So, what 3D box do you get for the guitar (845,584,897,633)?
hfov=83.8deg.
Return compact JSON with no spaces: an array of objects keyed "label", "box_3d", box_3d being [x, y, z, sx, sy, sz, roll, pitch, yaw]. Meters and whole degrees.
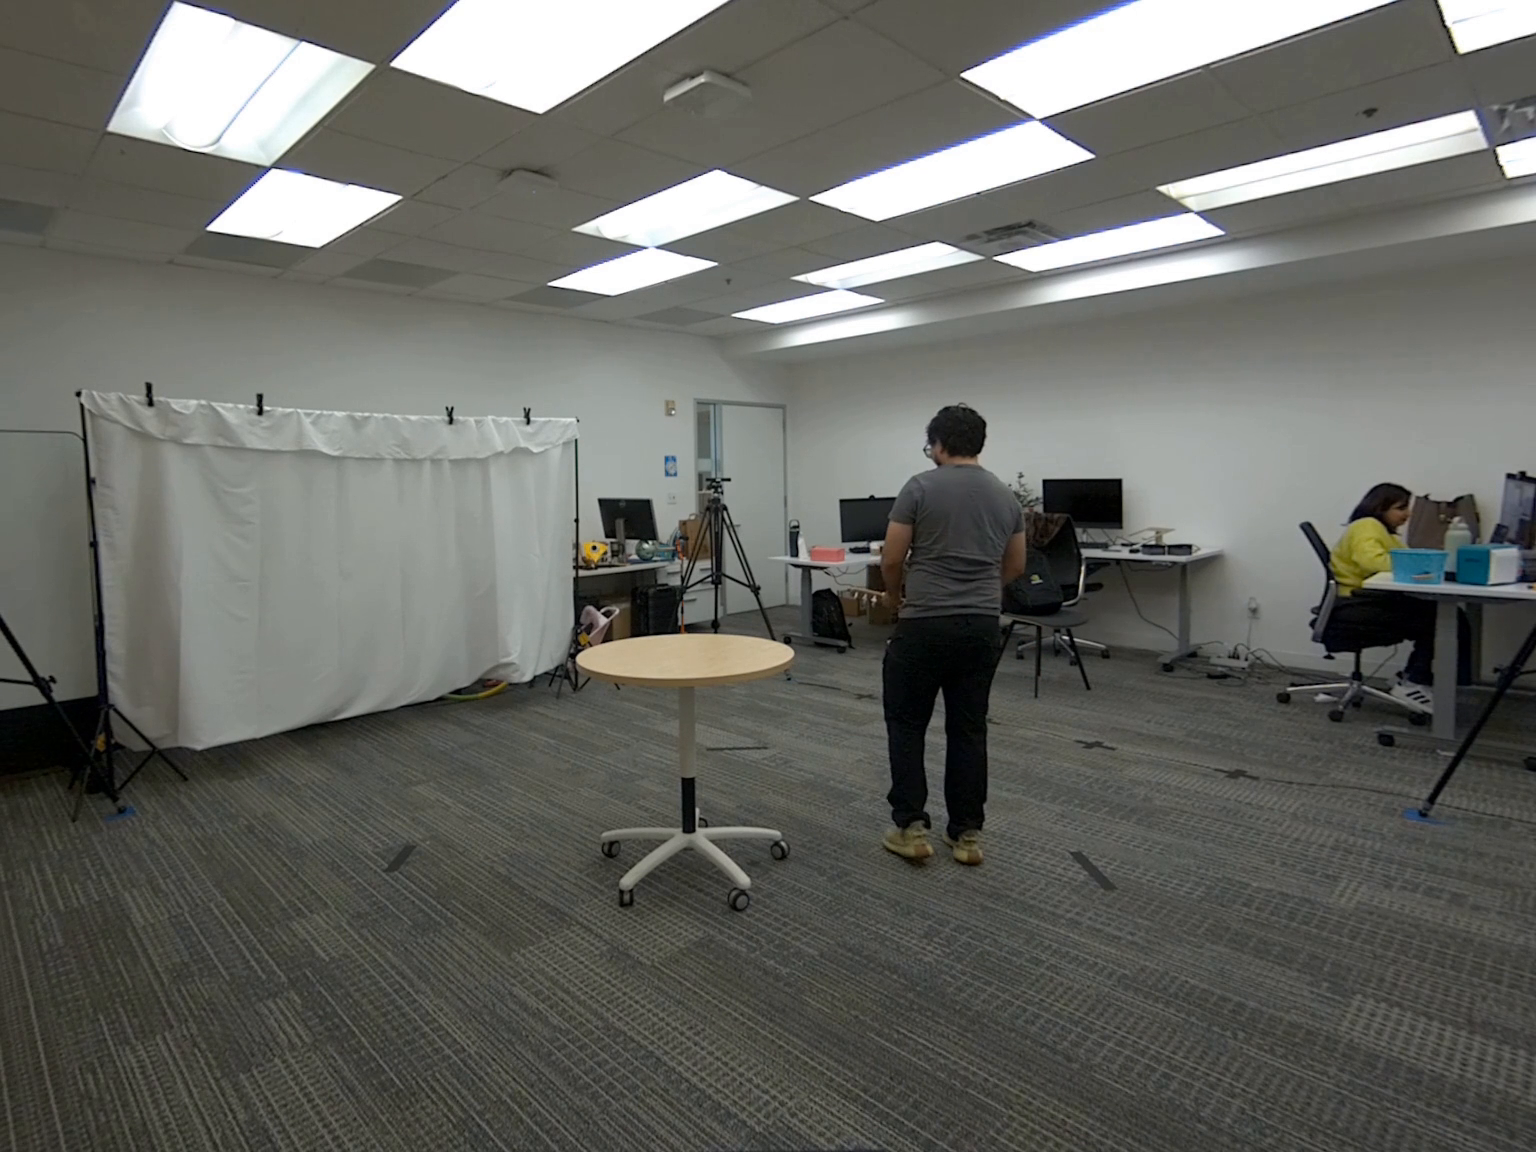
[{"label":"guitar","box_3d":[0.572,0.146,3.413,0.509,0.186,0.071,6,50,22]}]
